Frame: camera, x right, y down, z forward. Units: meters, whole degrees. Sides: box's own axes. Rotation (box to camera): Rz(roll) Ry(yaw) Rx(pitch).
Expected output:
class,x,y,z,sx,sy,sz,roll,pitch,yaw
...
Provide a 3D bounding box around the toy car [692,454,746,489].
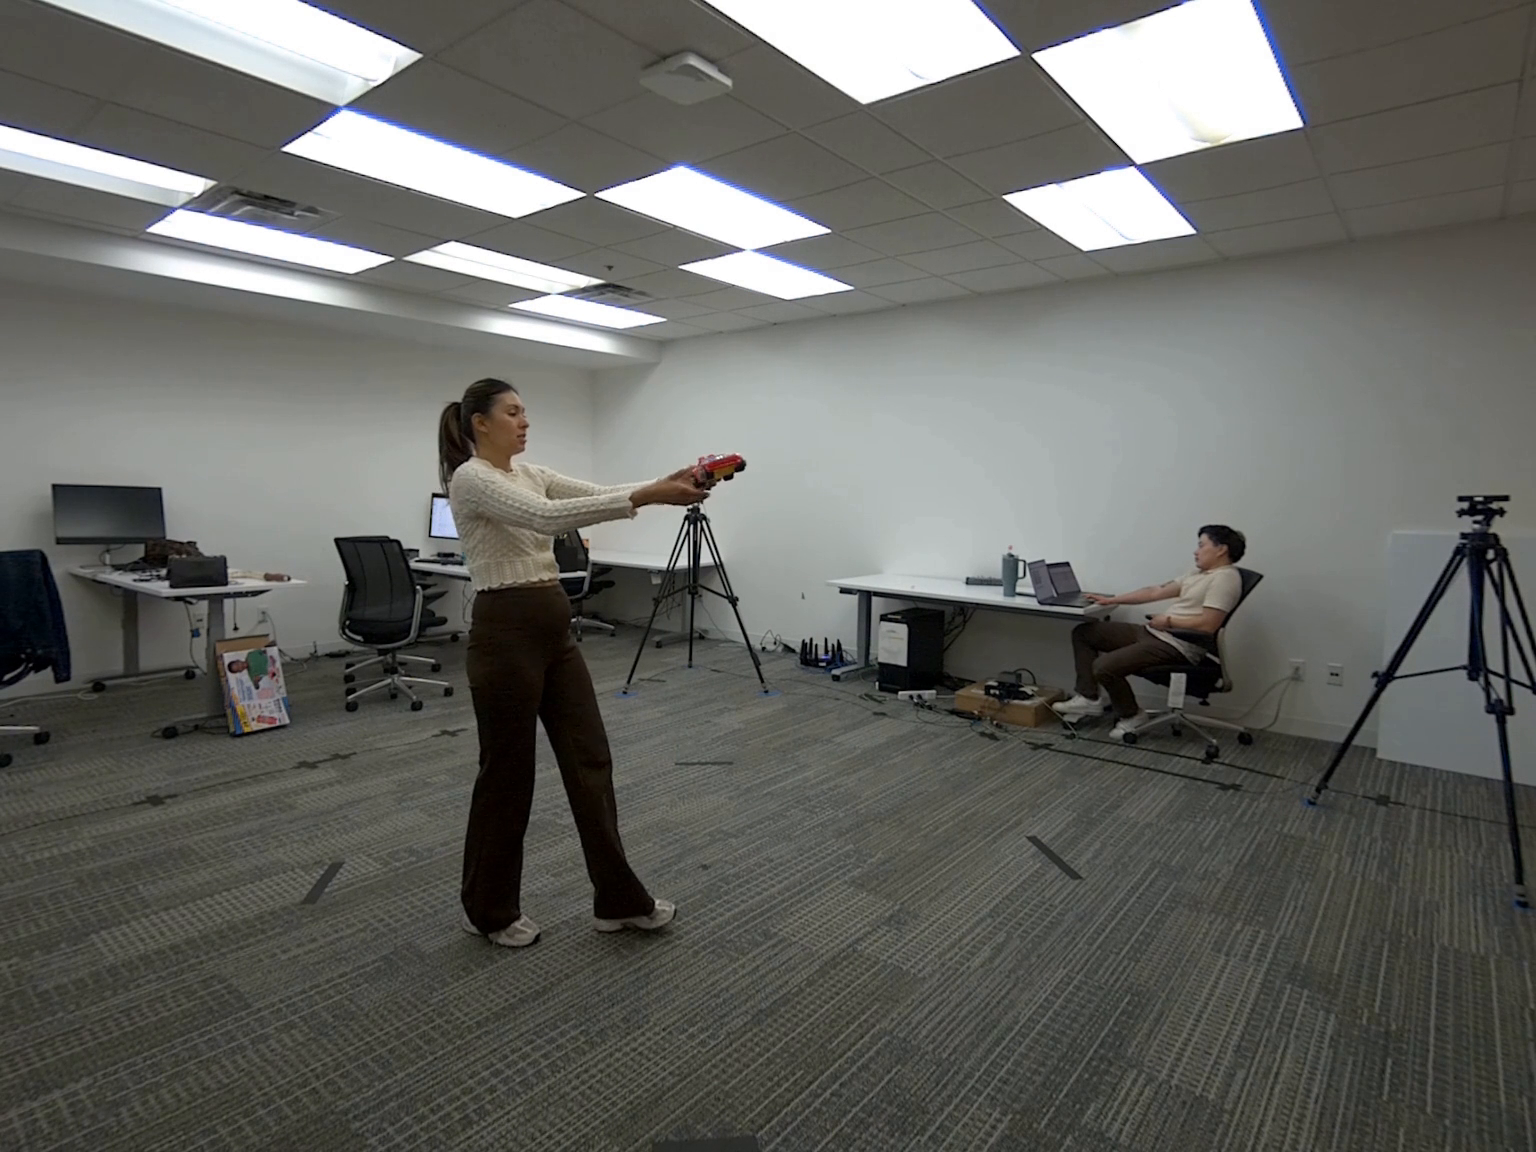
class,x,y,z,sx,sy,sz,roll,pitch,yaw
toy car,-0.158,-0.295,2.374,0.129,0.082,0.260,-16,11,-14
